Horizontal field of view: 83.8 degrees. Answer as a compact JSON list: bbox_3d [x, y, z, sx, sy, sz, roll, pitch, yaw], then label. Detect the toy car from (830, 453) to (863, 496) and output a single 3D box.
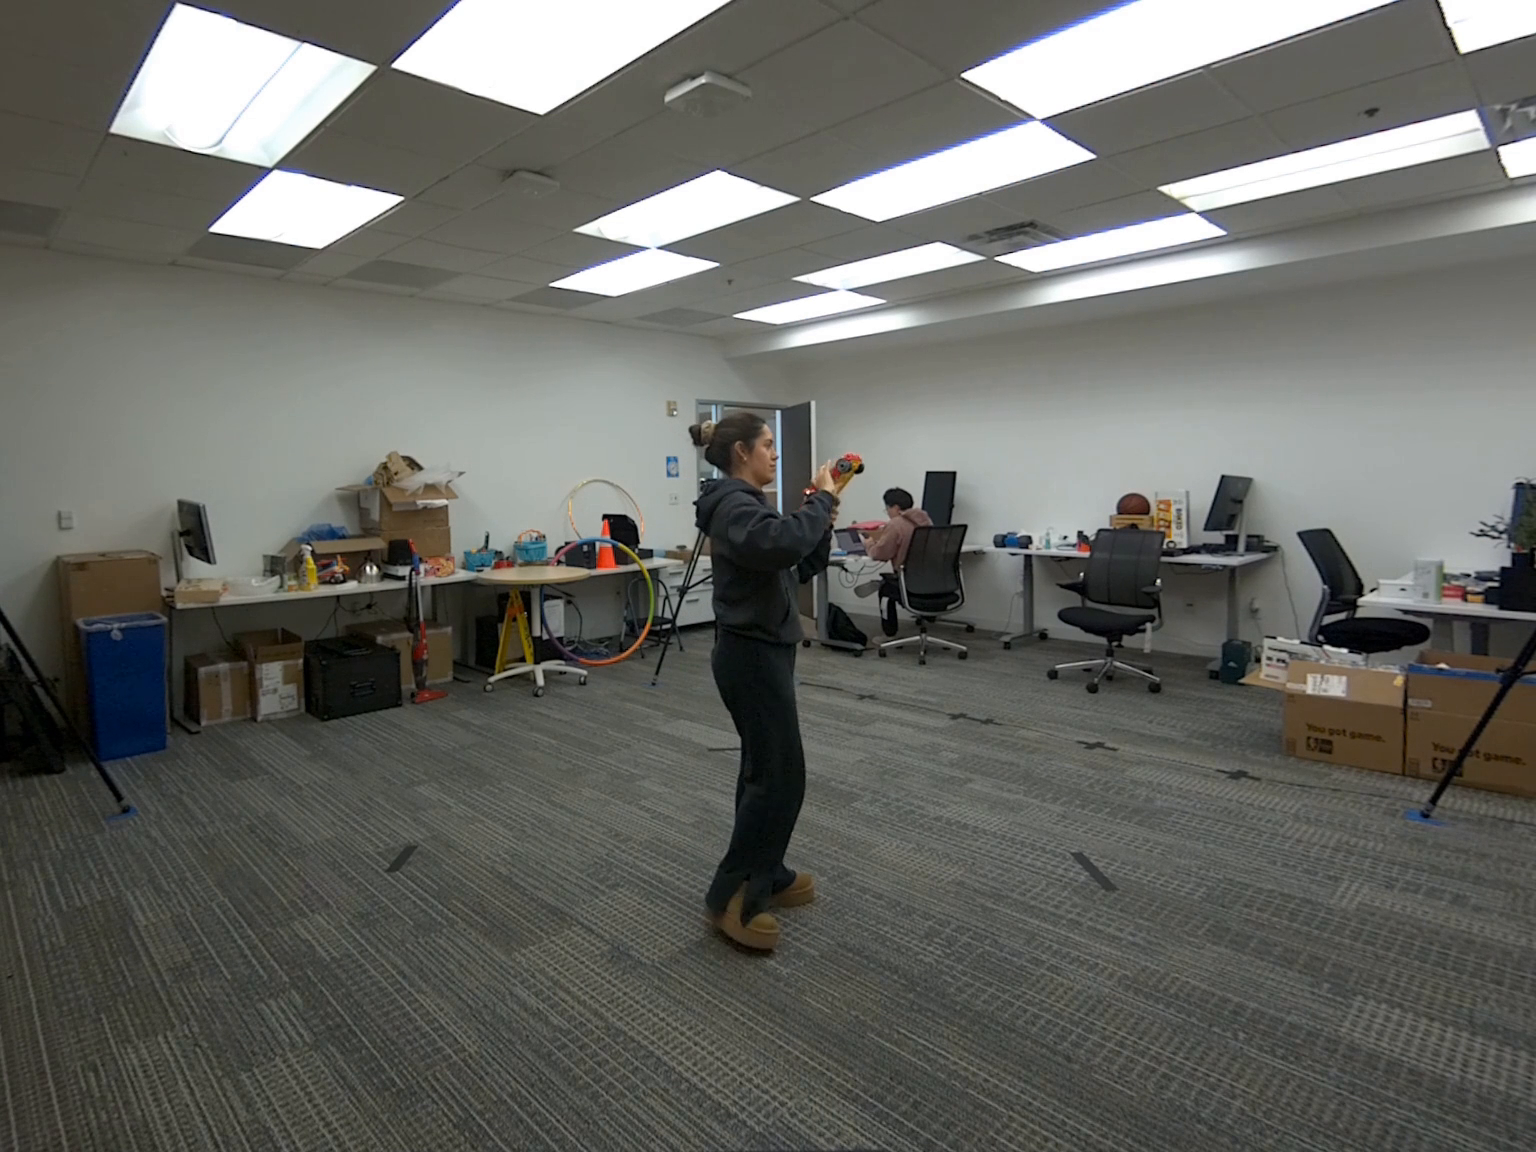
[{"bbox_3d":[0.189,-0.276,2.644,0.255,0.085,0.127,-40,-18,27],"label":"toy car"}]
